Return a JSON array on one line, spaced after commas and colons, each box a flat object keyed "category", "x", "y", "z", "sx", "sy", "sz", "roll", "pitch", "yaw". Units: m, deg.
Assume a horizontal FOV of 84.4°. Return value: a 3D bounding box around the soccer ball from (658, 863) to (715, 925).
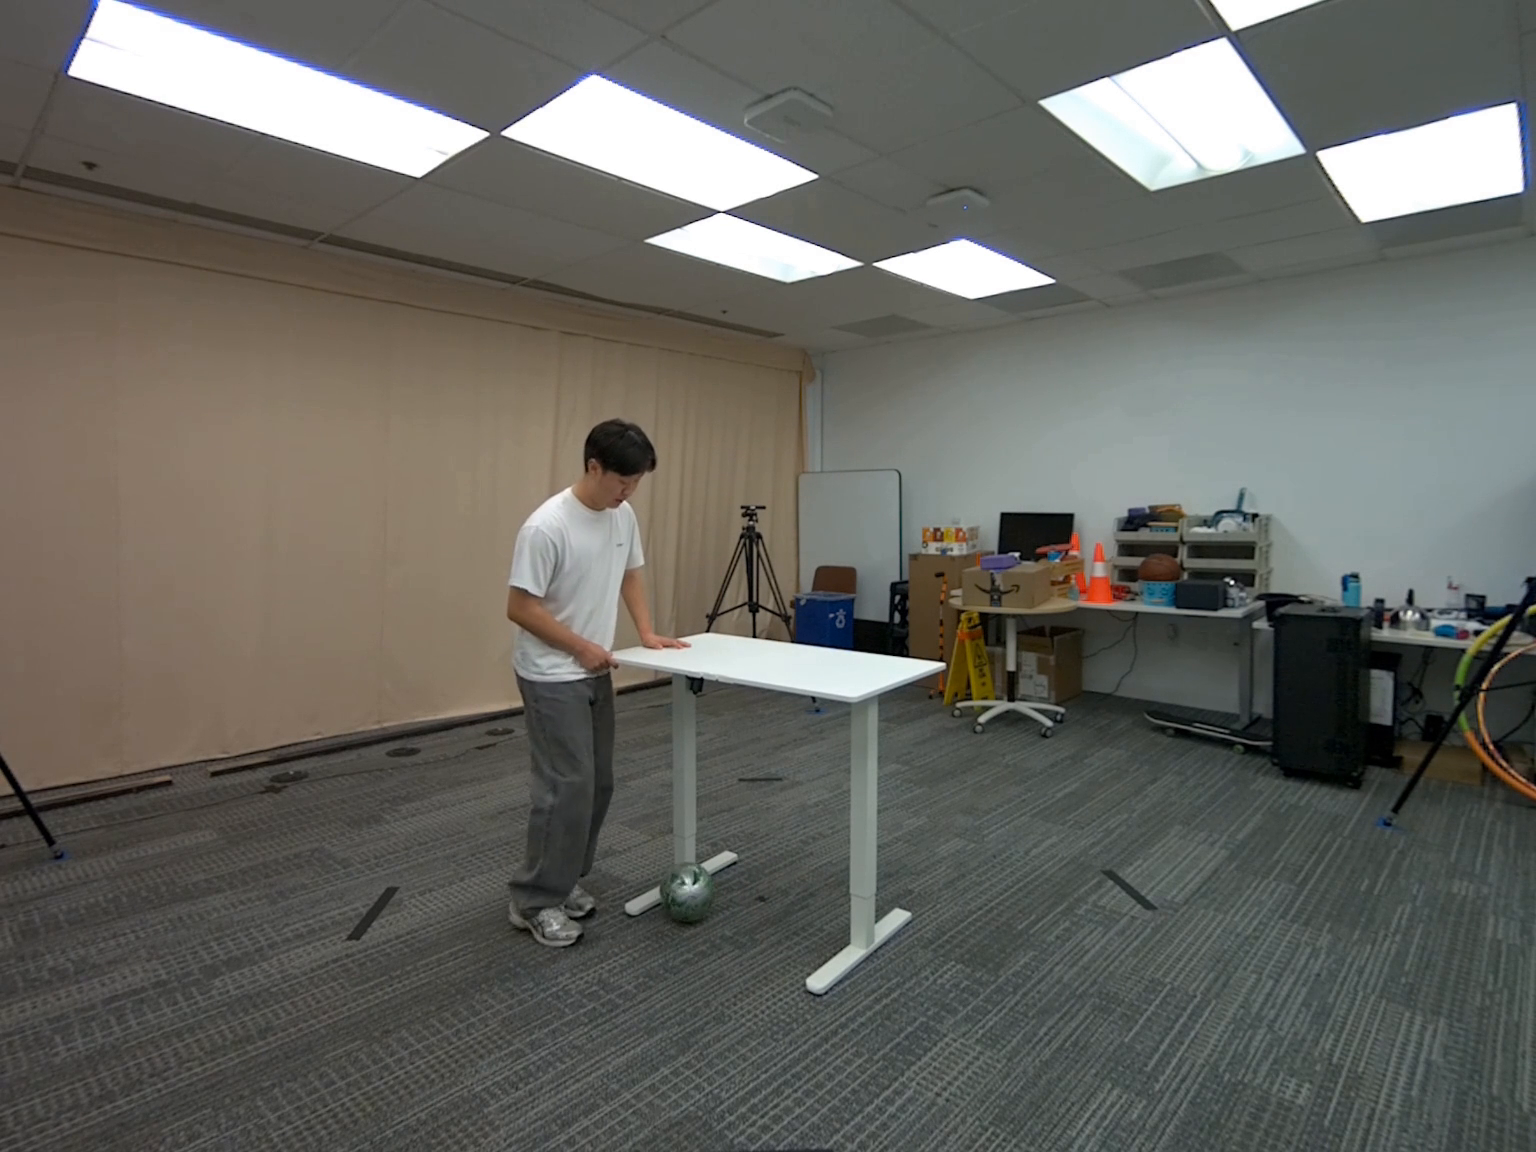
[{"category": "soccer ball", "x": -0.266, "y": 1.067, "z": 2.822, "sx": 0.187, "sy": 0.187, "sz": 0.188, "roll": 0, "pitch": 4, "yaw": -2}]
